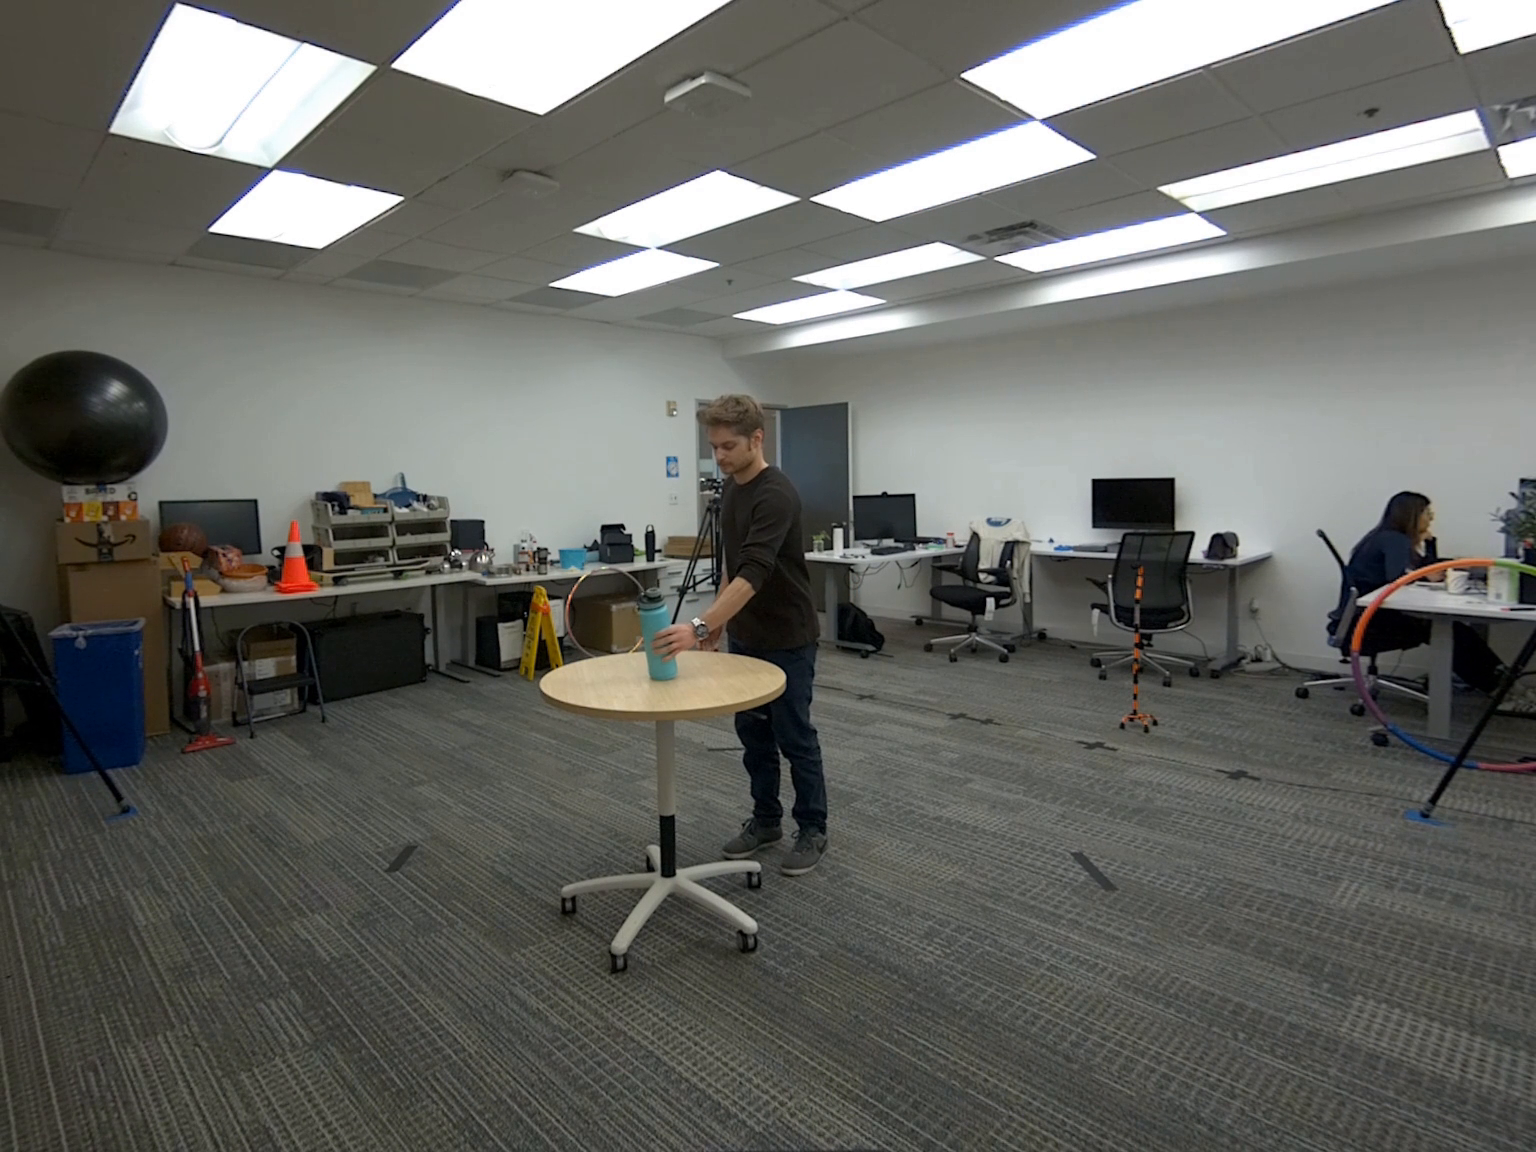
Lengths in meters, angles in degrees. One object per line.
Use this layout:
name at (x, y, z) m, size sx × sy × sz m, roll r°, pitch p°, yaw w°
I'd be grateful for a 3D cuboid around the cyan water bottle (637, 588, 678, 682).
cyan water bottle at (-0.341, 0.177, 2.633) m, size 0.092 × 0.279 × 0.093 m, roll -9°, pitch 13°, yaw 1°
